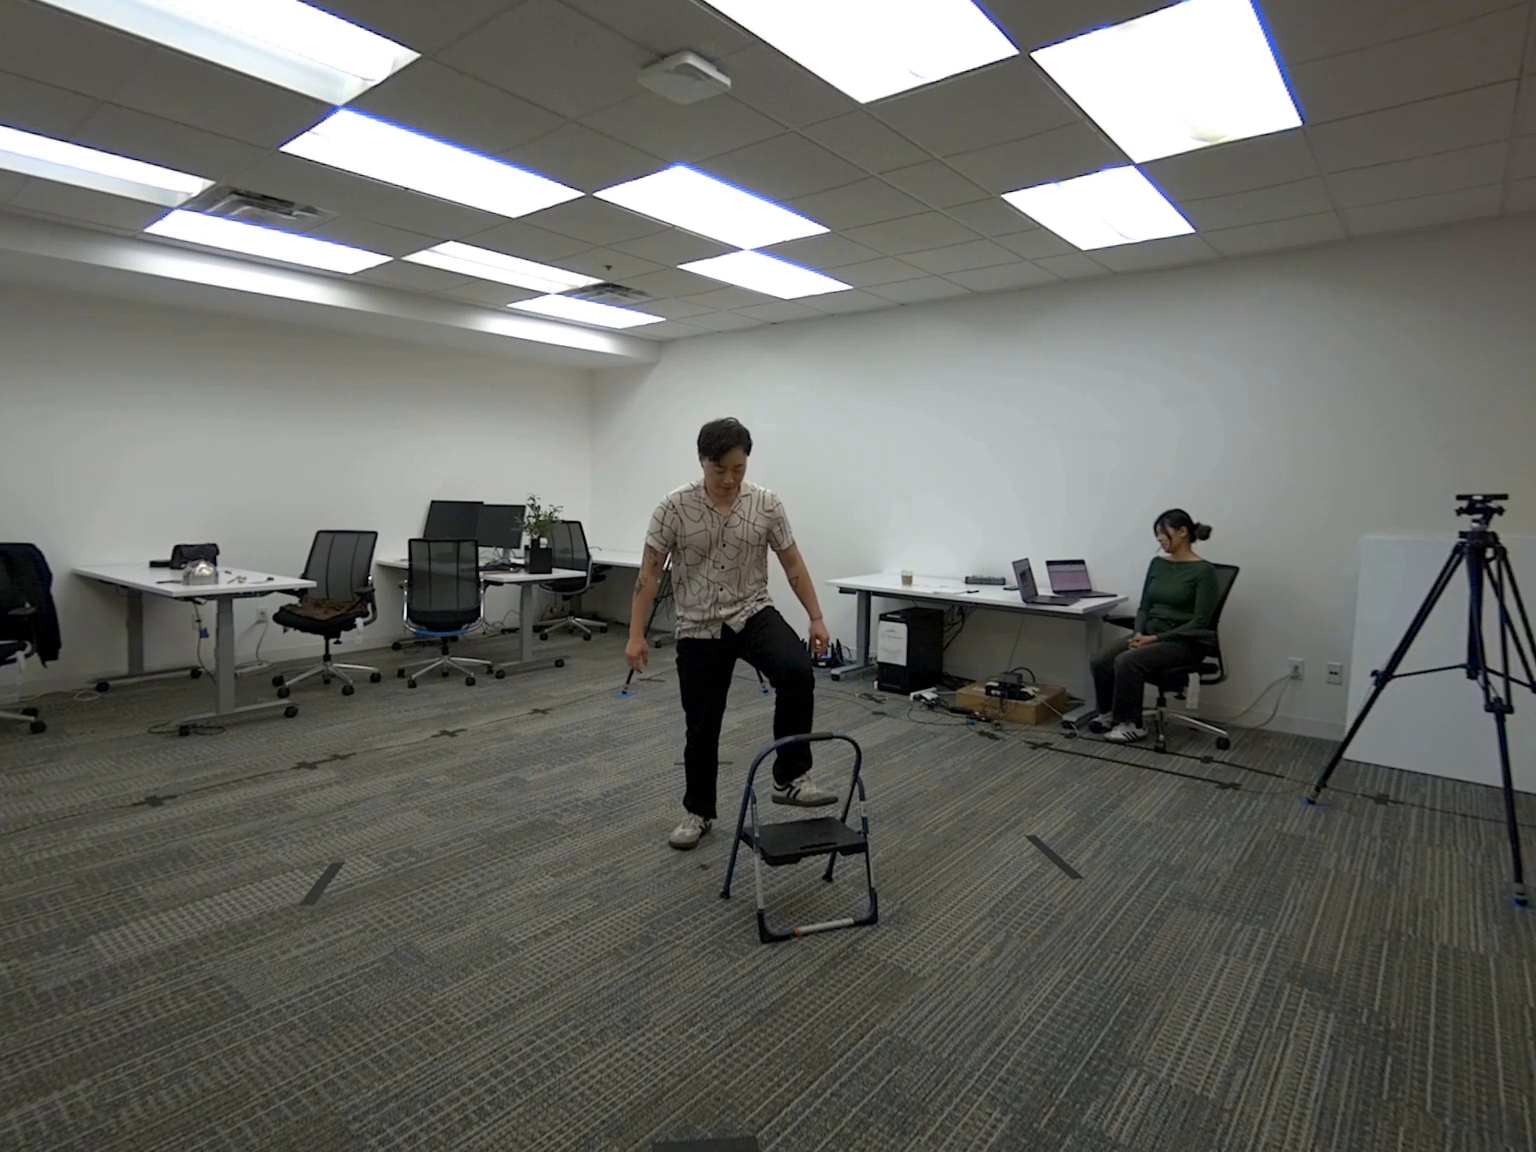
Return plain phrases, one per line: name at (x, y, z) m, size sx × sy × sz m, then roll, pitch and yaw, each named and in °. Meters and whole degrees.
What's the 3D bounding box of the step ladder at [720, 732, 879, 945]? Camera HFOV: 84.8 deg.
step ladder at (0.100, 0.797, 2.804) m, size 0.421 × 0.604 × 0.358 m, roll -1°, pitch 4°, yaw -24°
